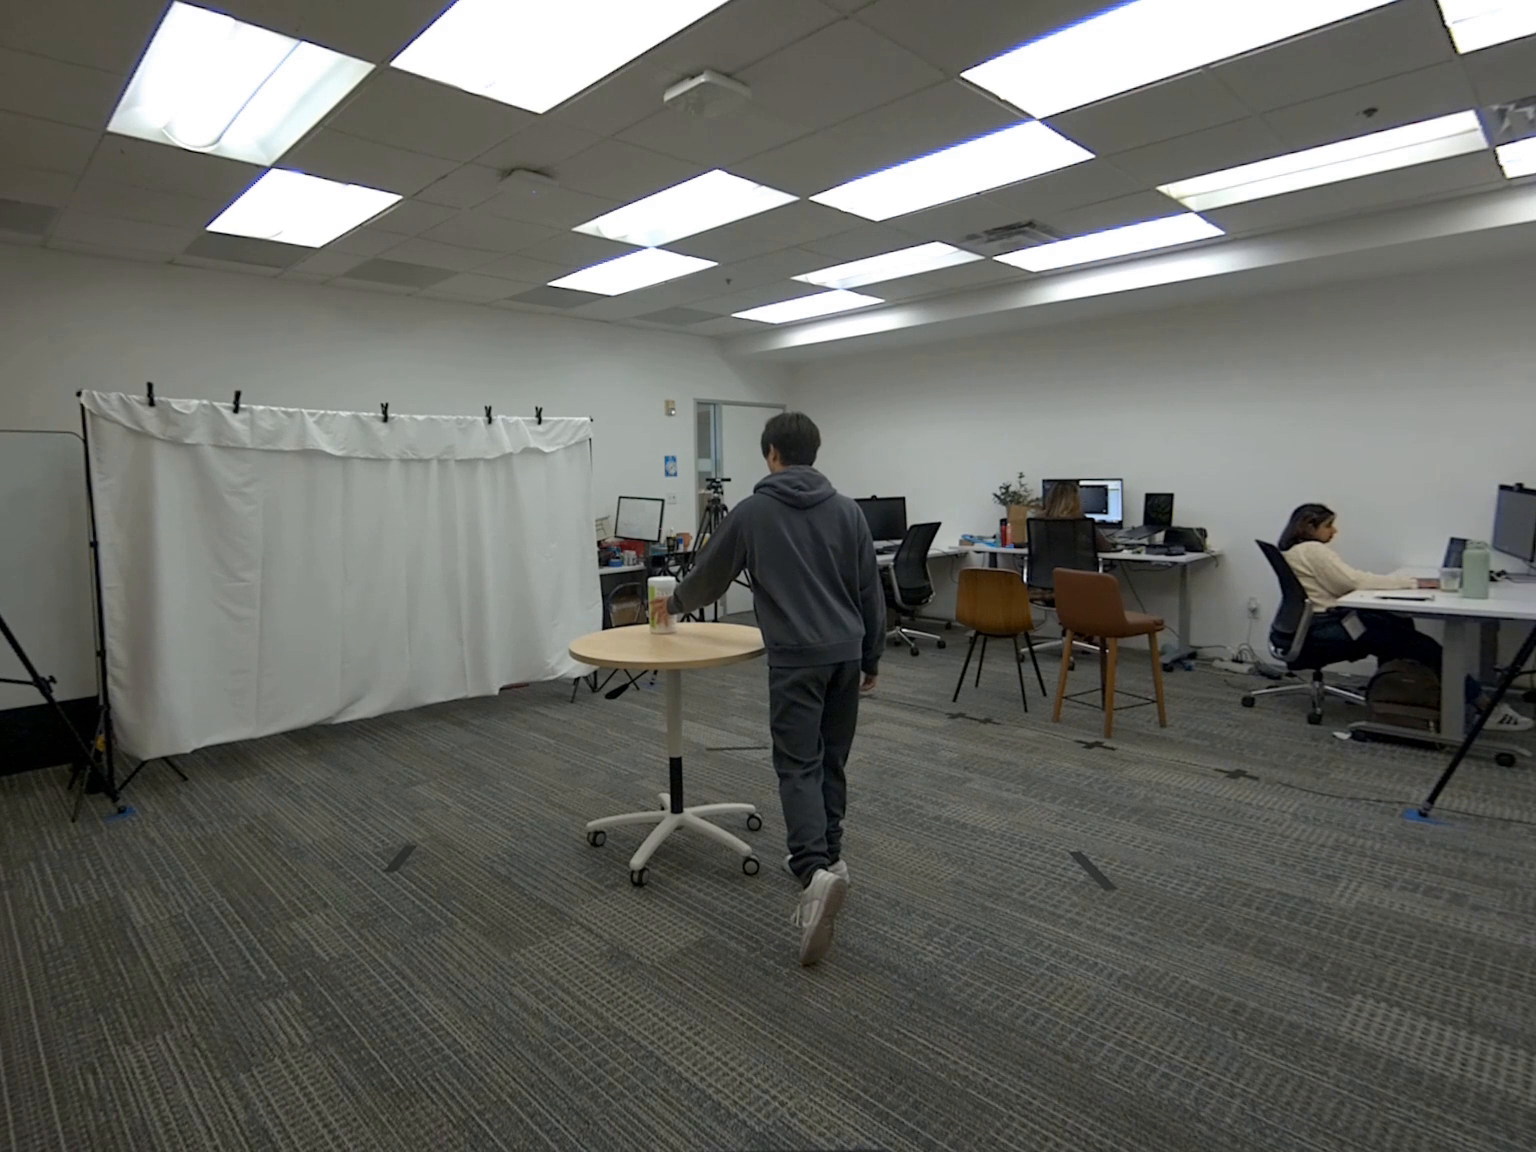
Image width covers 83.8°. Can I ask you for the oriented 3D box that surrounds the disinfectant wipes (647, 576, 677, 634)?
[{"bbox_3d":[-0.413,0.116,3.369,0.118,0.217,0.118,-1,3,-2],"label":"disinfectant wipes"}]
